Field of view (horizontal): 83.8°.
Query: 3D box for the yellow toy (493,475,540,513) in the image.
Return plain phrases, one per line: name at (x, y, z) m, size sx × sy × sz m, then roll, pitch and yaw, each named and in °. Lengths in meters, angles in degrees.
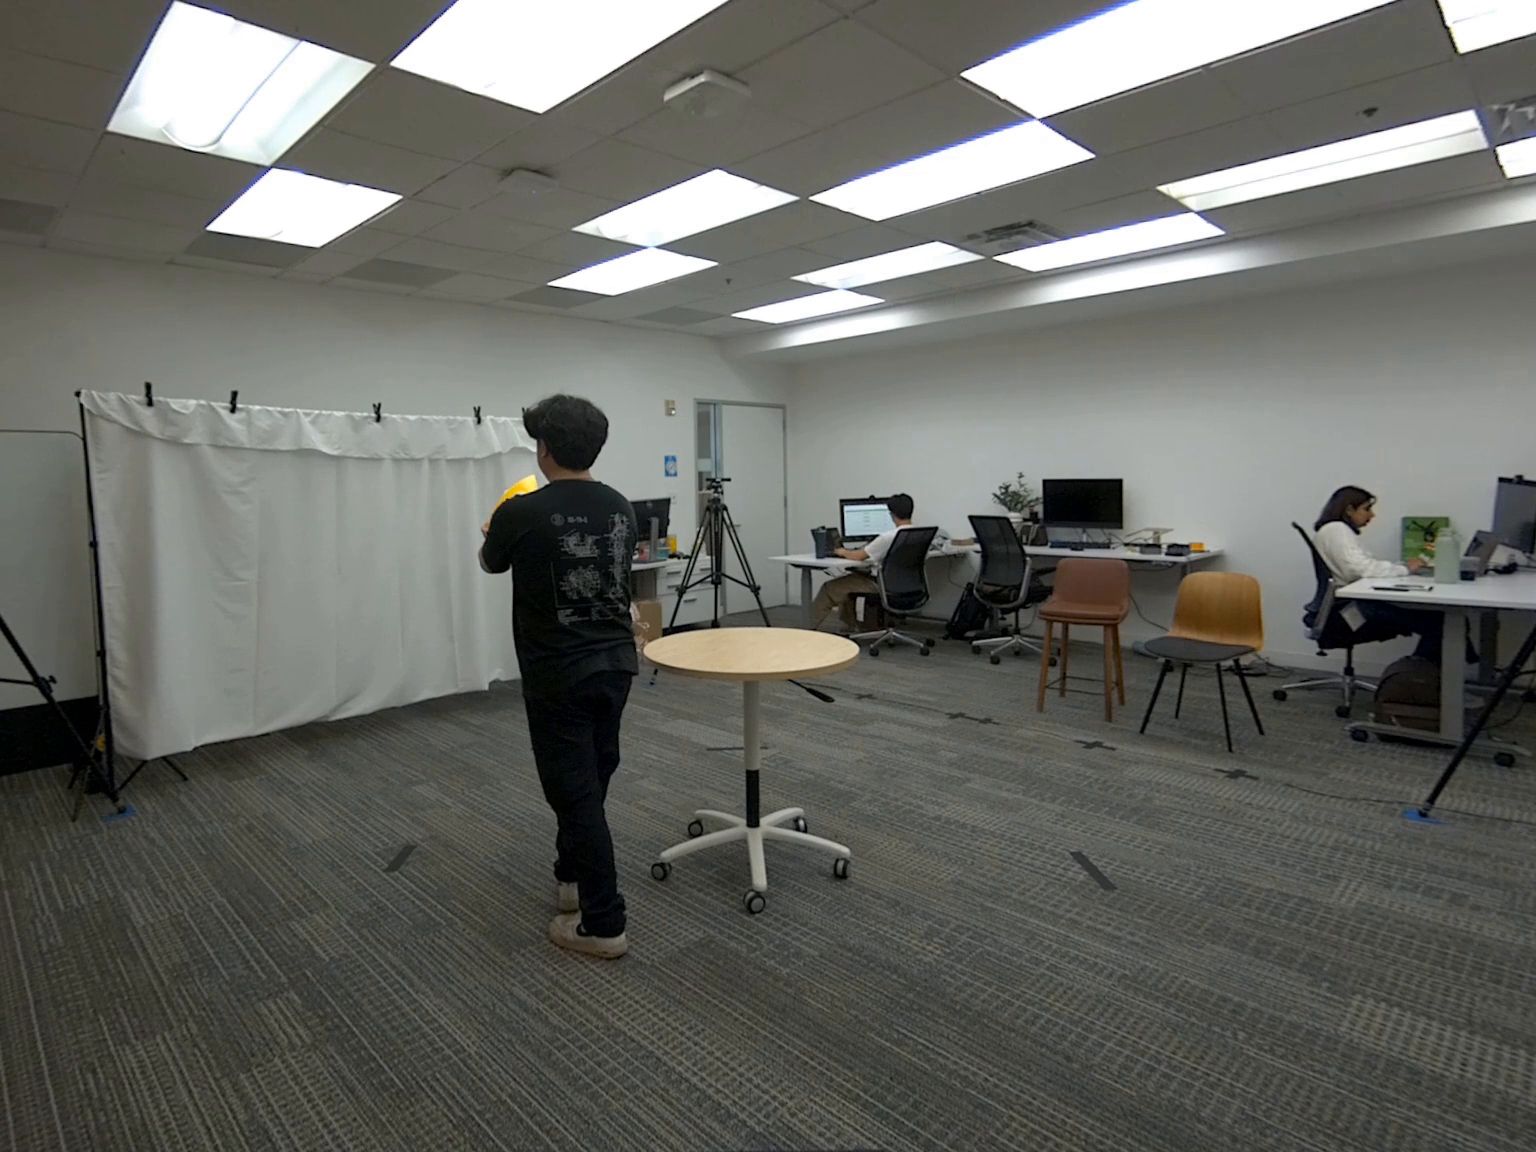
yellow toy at (-0.910, -0.258, 3.092) m, size 0.187 × 0.229 × 0.212 m, roll 2°, pitch 8°, yaw -37°
